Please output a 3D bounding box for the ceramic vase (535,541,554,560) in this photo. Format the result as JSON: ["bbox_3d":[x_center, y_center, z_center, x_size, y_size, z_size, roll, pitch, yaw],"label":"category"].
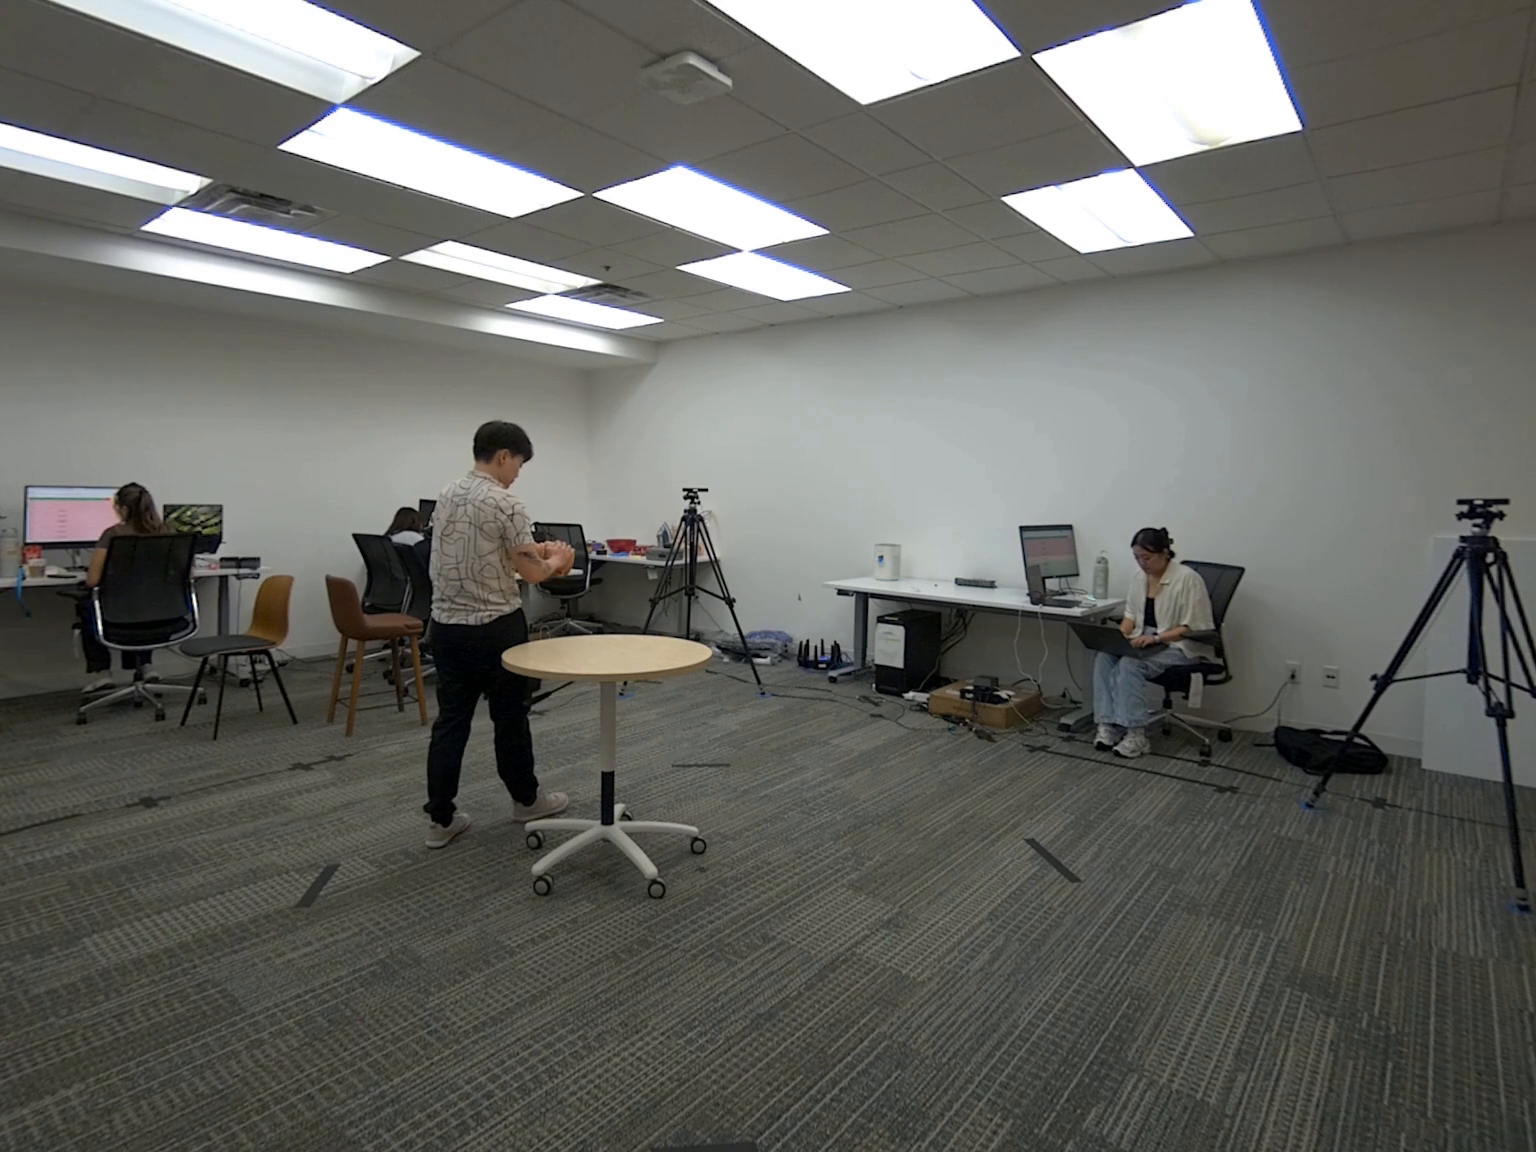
[{"bbox_3d":[-0.955,-0.086,3.621,0.212,0.135,0.164,17,-2,-35],"label":"ceramic vase"}]
